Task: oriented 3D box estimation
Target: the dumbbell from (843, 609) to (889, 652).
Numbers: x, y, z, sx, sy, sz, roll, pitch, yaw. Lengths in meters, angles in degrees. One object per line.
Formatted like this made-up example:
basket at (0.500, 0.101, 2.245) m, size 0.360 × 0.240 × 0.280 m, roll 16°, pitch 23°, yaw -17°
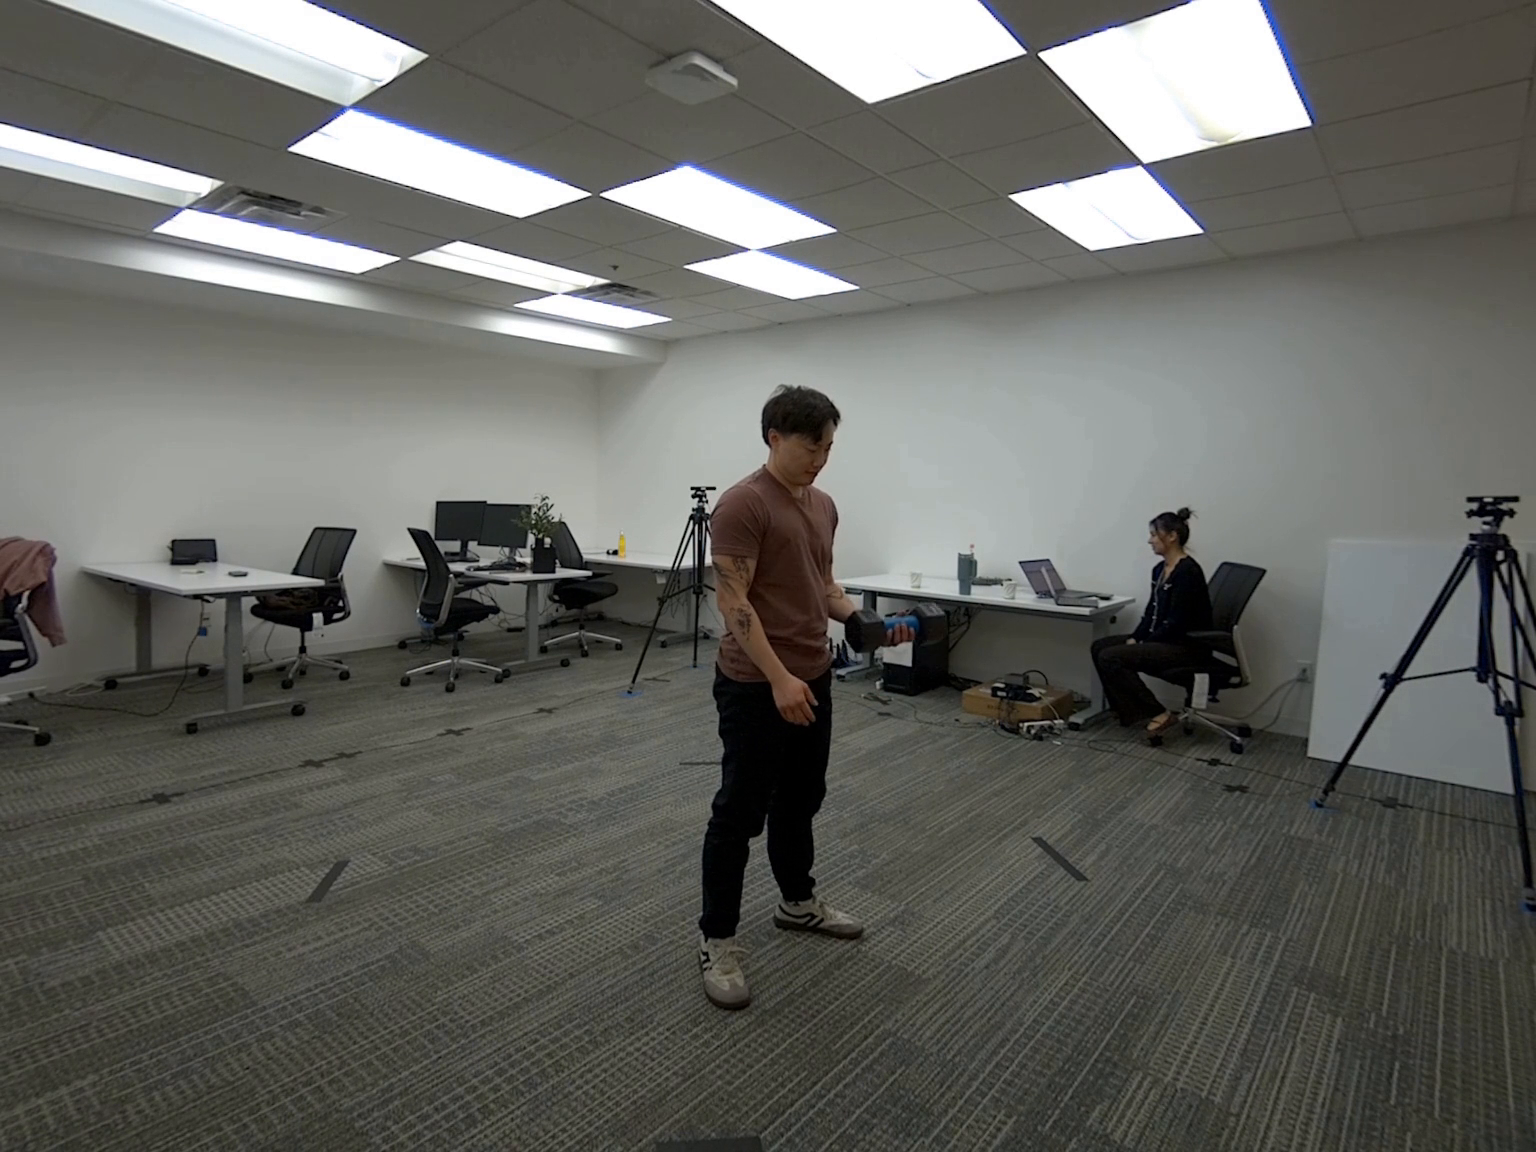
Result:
dumbbell at (0.357, 0.143, 2.441) m, size 0.288 × 0.106 × 0.128 m, roll -4°, pitch 34°, yaw -19°
